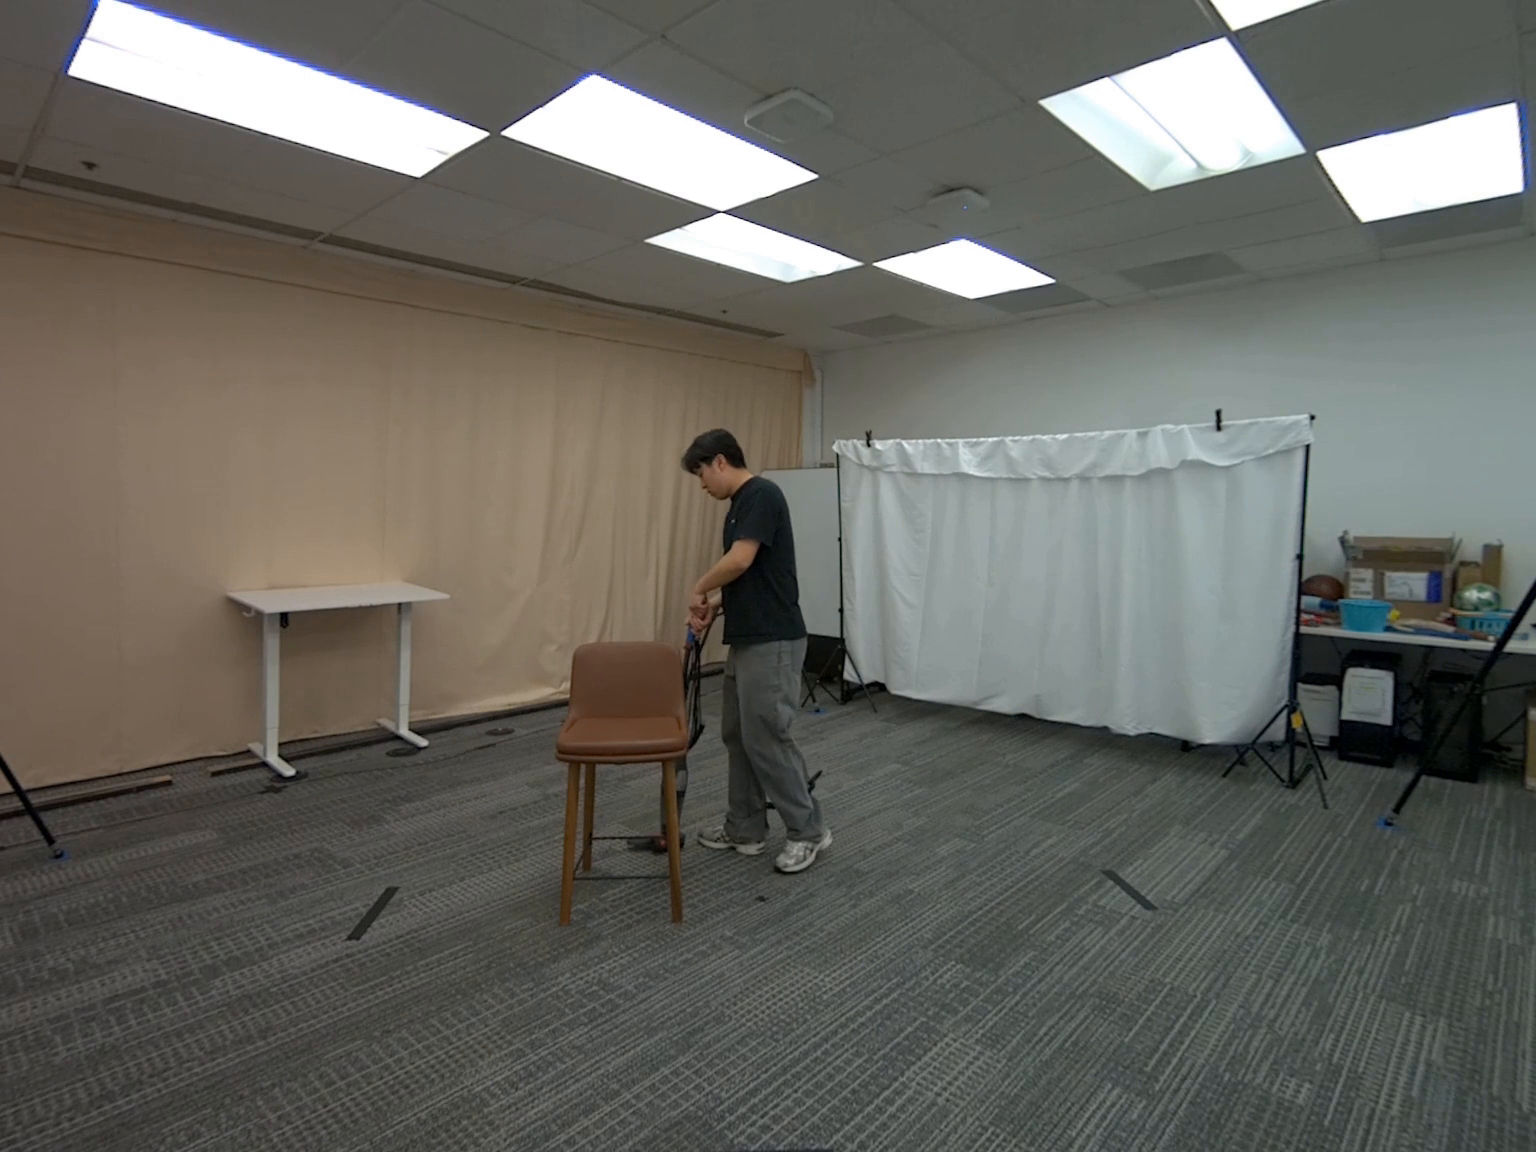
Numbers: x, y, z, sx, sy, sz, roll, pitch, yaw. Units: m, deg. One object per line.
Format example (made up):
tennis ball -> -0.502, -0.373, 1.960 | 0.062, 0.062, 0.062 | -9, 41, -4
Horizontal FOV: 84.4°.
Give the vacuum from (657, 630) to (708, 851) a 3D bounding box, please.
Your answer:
vacuum -> -0.342, 0.606, 3.372 | 0.245, 1.046, 0.149 | 5, 9, -33
